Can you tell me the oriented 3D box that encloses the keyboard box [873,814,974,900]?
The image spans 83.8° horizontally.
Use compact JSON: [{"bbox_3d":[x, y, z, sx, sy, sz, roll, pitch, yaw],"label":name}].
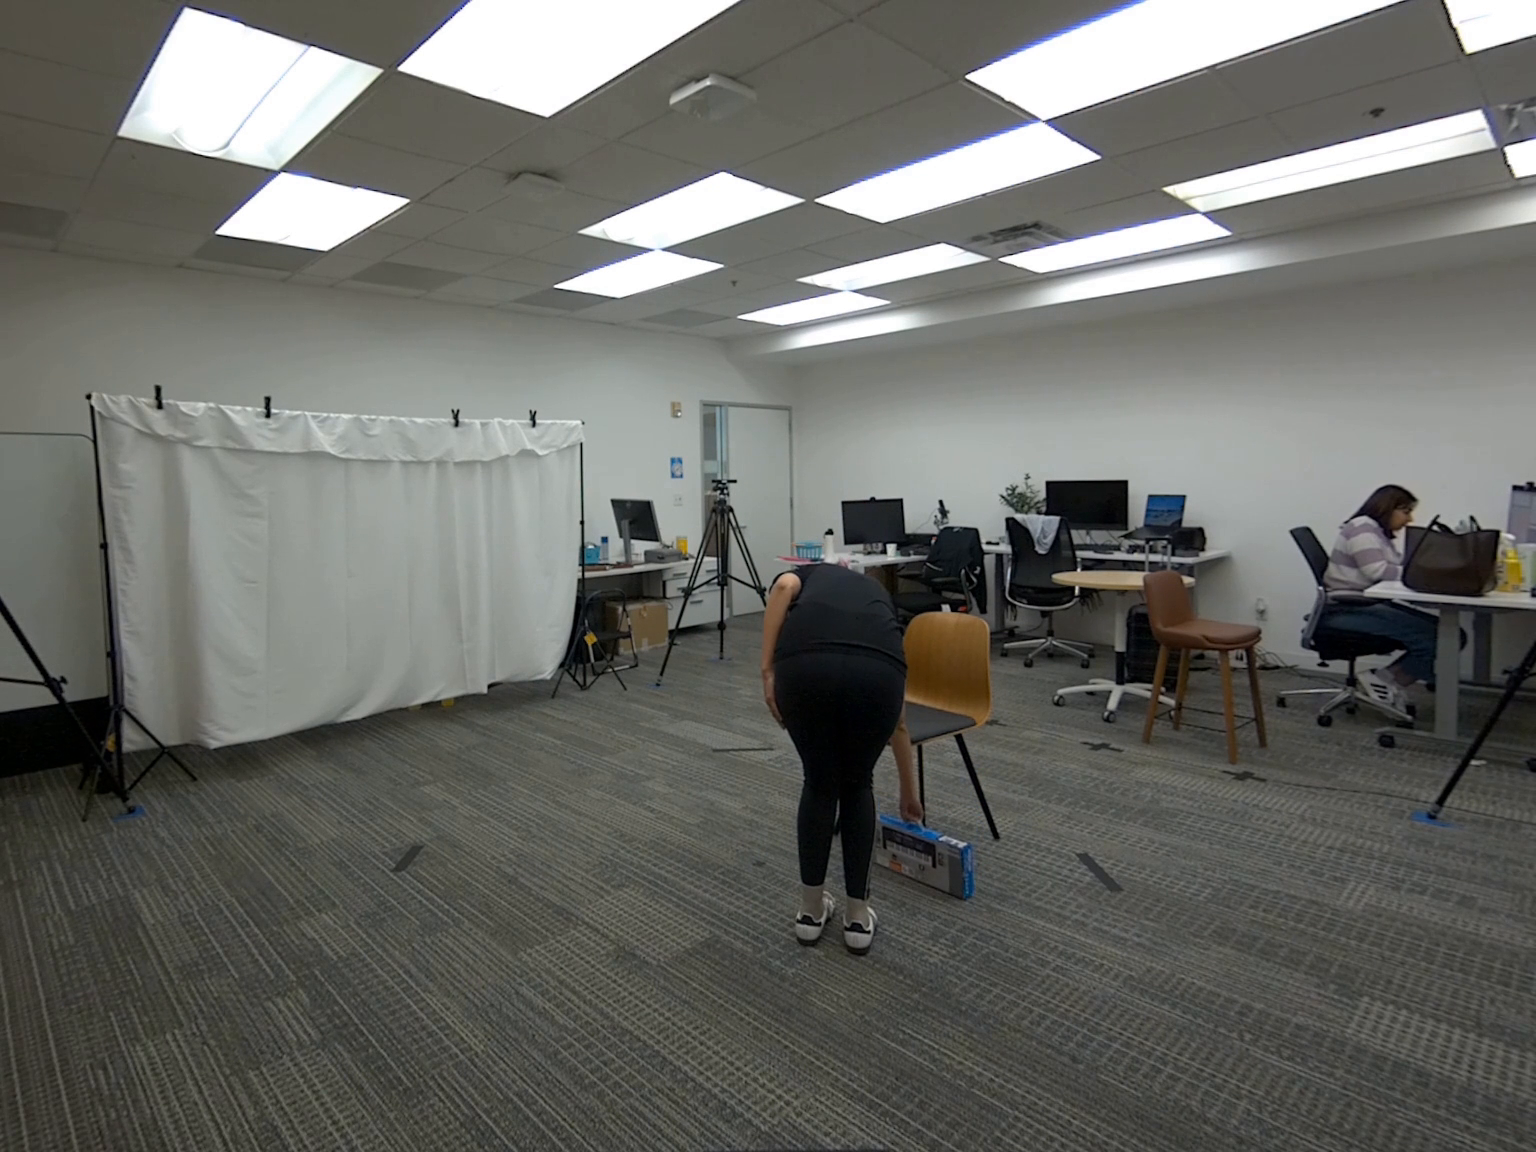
[{"bbox_3d":[0.518,0.967,2.982,0.057,0.175,0.450,-5,7,-42],"label":"keyboard box"}]
